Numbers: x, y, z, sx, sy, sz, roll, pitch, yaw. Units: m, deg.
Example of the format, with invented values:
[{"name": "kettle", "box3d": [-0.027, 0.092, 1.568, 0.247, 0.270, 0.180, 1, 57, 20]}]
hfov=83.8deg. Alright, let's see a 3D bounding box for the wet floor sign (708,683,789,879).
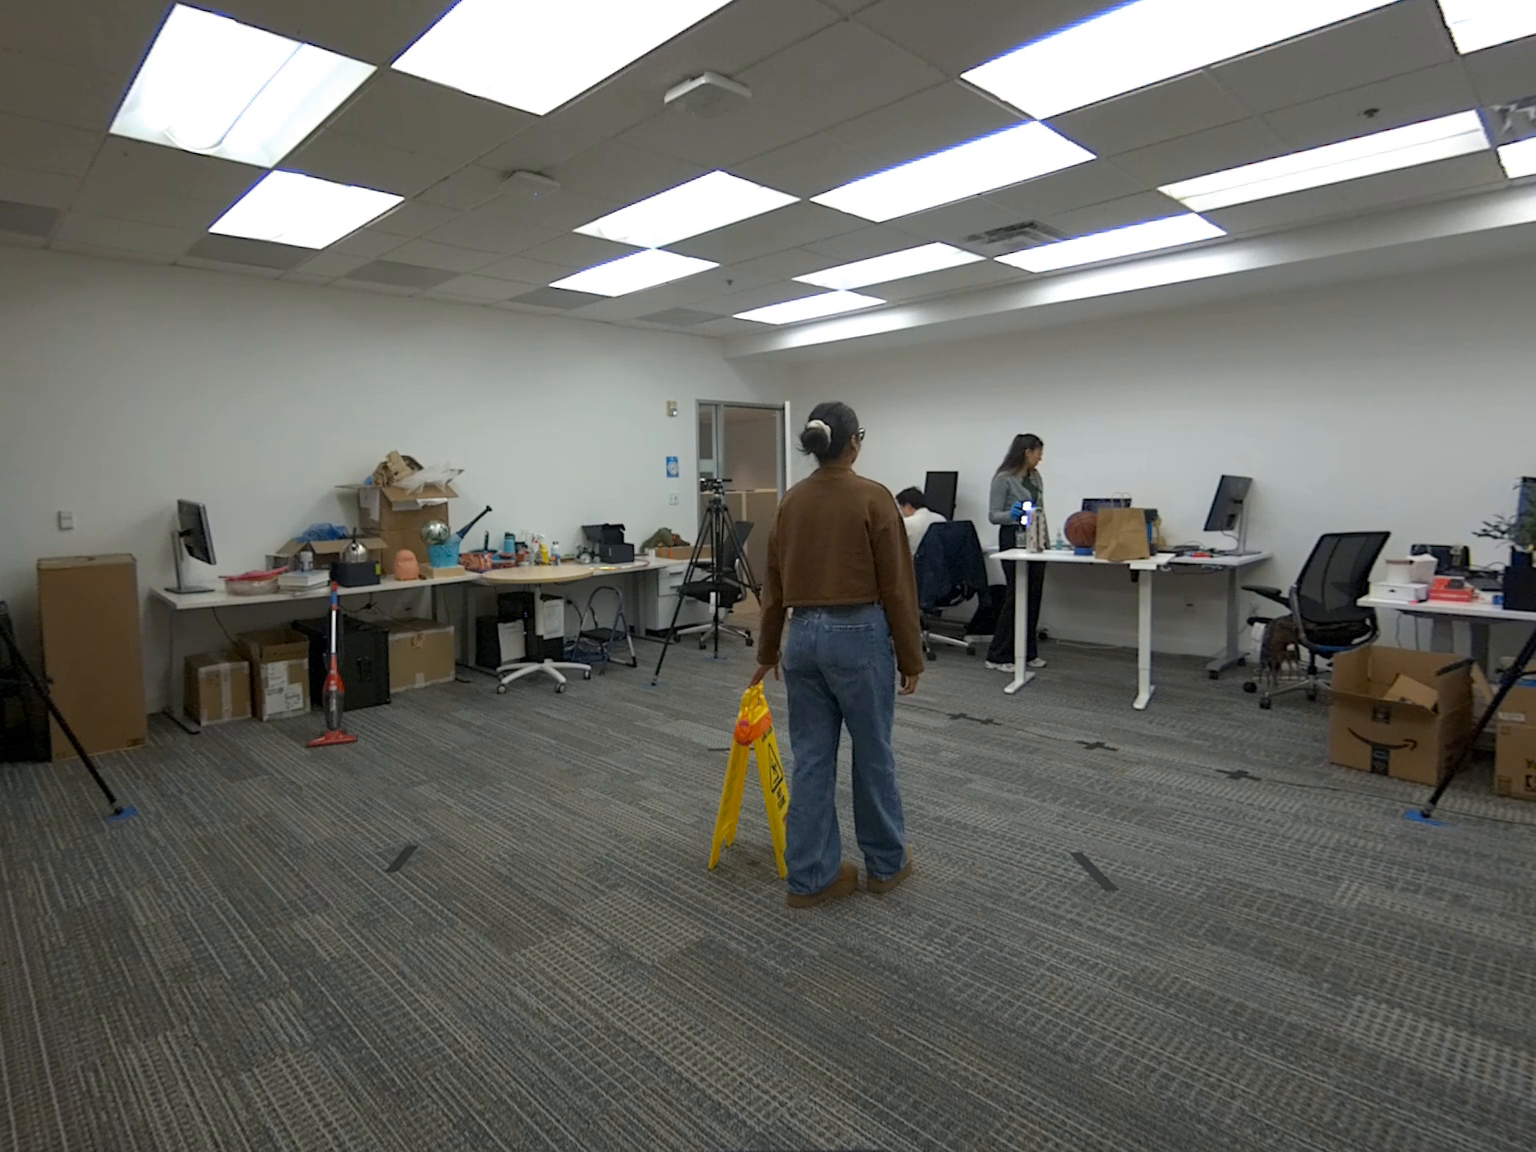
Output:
[{"name": "wet floor sign", "box3d": [-0.052, 0.718, 3.127, 0.294, 0.645, 0.278, -1, 2, 17]}]
